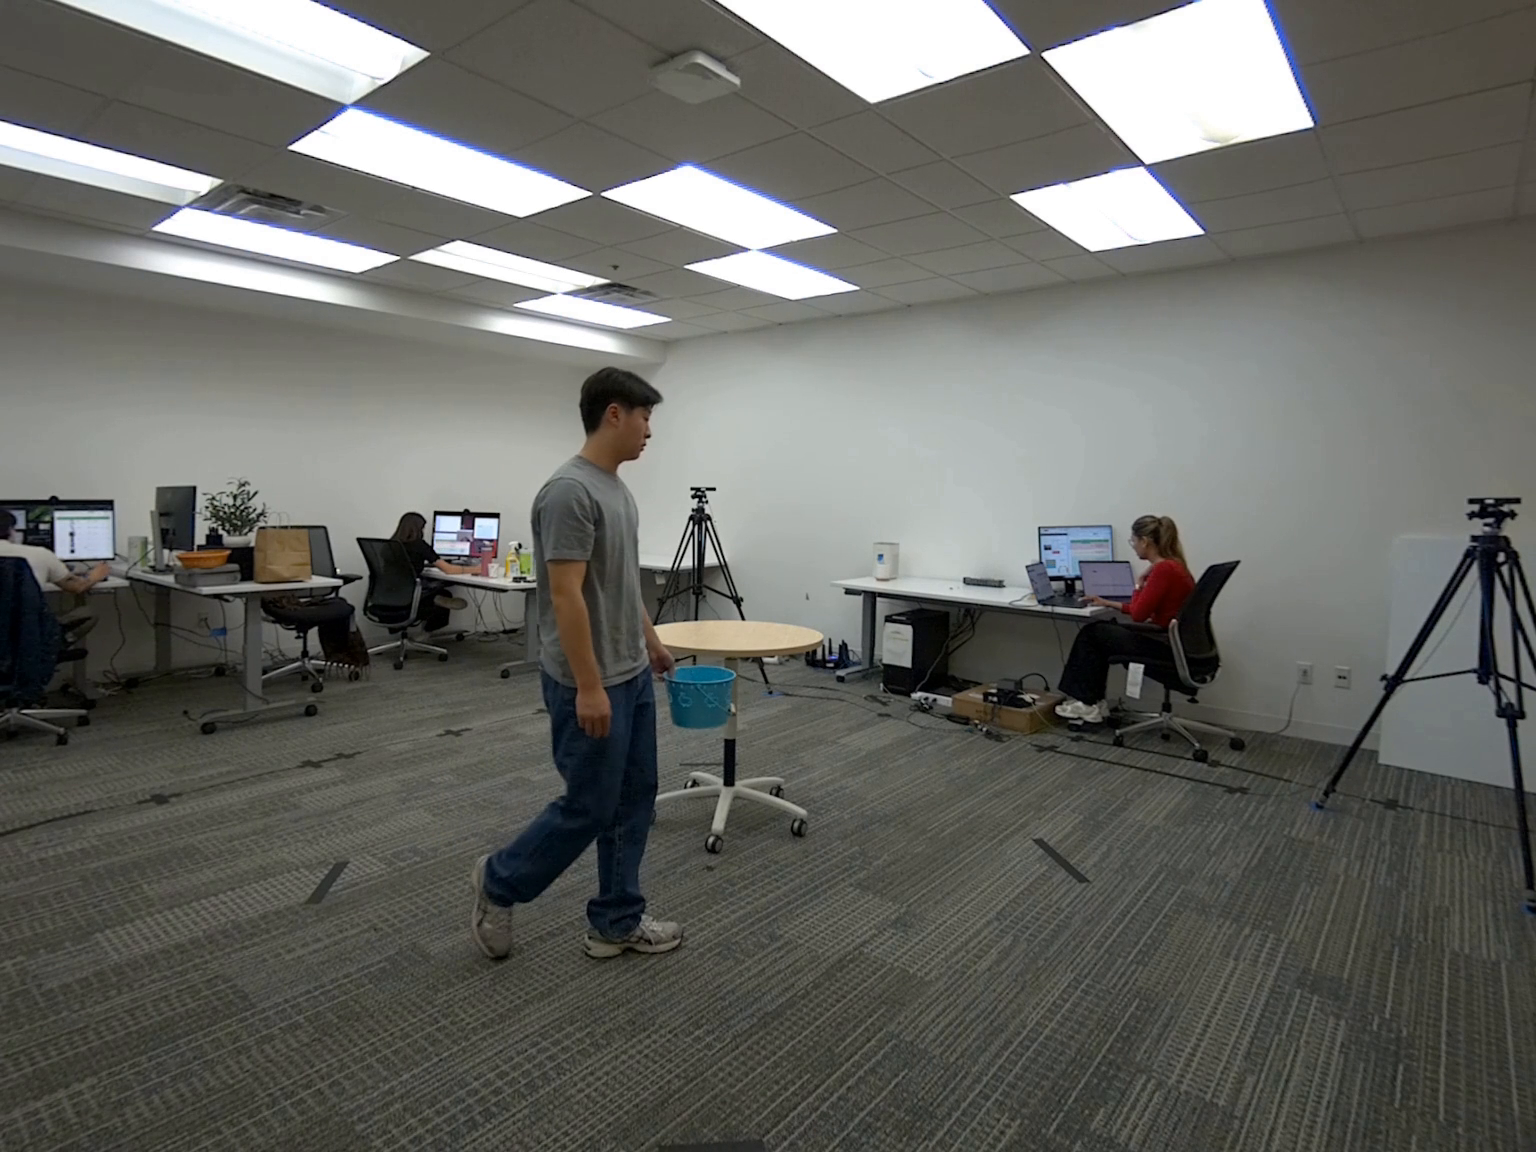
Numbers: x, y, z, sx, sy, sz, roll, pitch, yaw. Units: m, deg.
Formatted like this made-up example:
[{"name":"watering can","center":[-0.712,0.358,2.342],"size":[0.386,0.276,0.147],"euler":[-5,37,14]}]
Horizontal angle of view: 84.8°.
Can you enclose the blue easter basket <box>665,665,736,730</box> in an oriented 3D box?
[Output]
[{"name":"blue easter basket","center":[-0.226,0.384,2.714],"size":[0.243,0.155,0.246],"euler":[0,8,-2]}]
